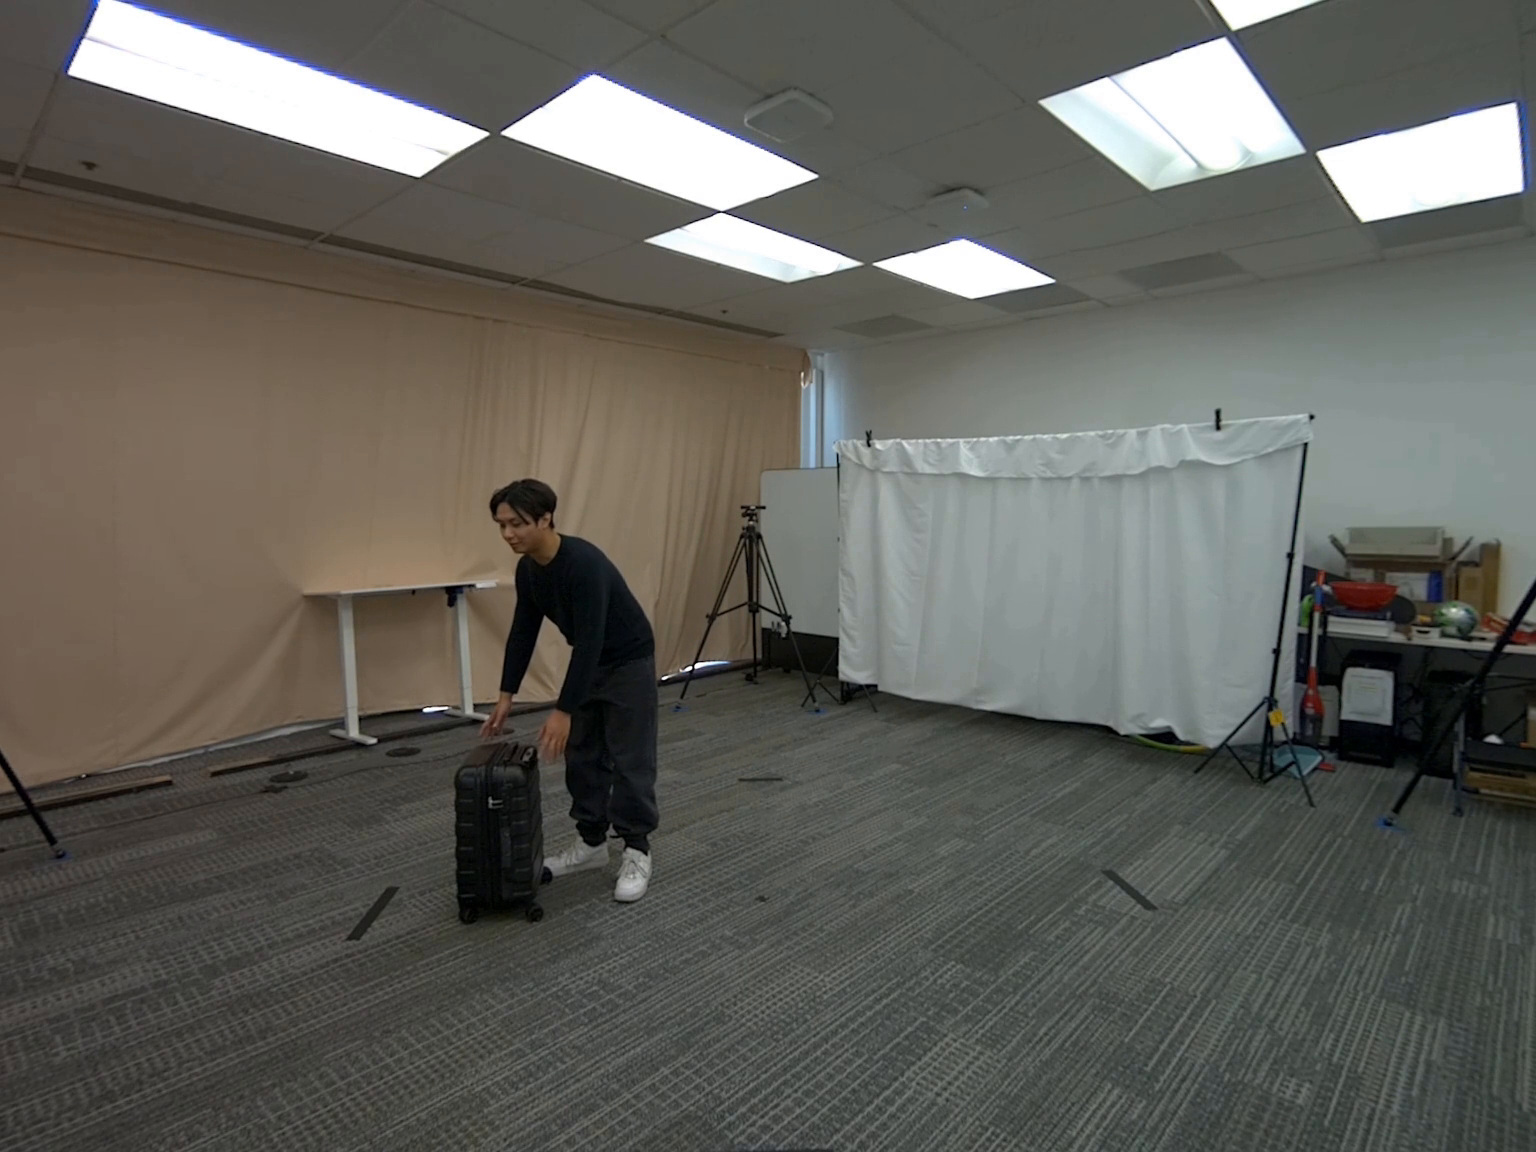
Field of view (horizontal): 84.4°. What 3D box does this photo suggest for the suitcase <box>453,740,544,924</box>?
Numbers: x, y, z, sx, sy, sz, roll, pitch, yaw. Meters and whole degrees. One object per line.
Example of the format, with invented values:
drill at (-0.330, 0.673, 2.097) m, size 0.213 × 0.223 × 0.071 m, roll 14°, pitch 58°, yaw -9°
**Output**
suitcase at (-0.942, 0.878, 2.952) m, size 0.247 × 0.548 × 0.378 m, roll 0°, pitch 3°, yaw -6°
